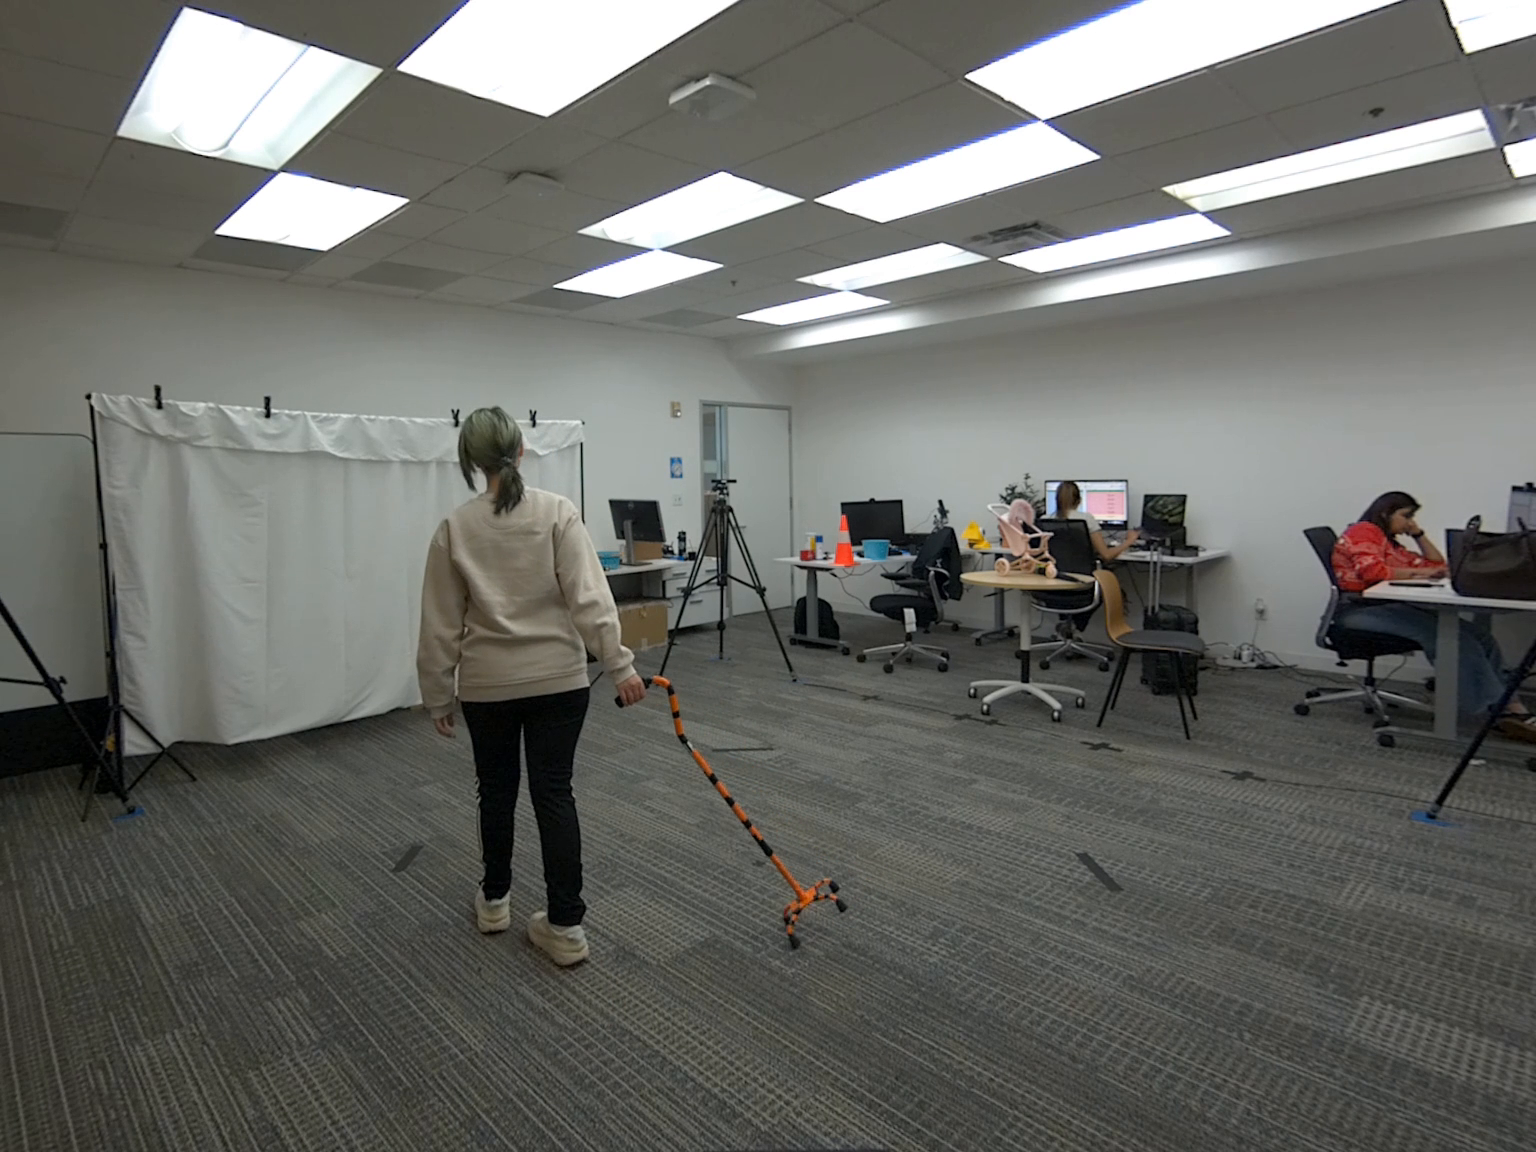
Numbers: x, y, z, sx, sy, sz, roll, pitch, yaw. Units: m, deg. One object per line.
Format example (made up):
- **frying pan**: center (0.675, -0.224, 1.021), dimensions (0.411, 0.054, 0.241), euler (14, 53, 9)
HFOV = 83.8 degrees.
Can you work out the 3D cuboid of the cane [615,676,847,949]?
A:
- **cane**: center (-0.115, 0.687, 2.585), dimensions (0.206, 0.903, 0.152), euler (-37, 4, -1)
